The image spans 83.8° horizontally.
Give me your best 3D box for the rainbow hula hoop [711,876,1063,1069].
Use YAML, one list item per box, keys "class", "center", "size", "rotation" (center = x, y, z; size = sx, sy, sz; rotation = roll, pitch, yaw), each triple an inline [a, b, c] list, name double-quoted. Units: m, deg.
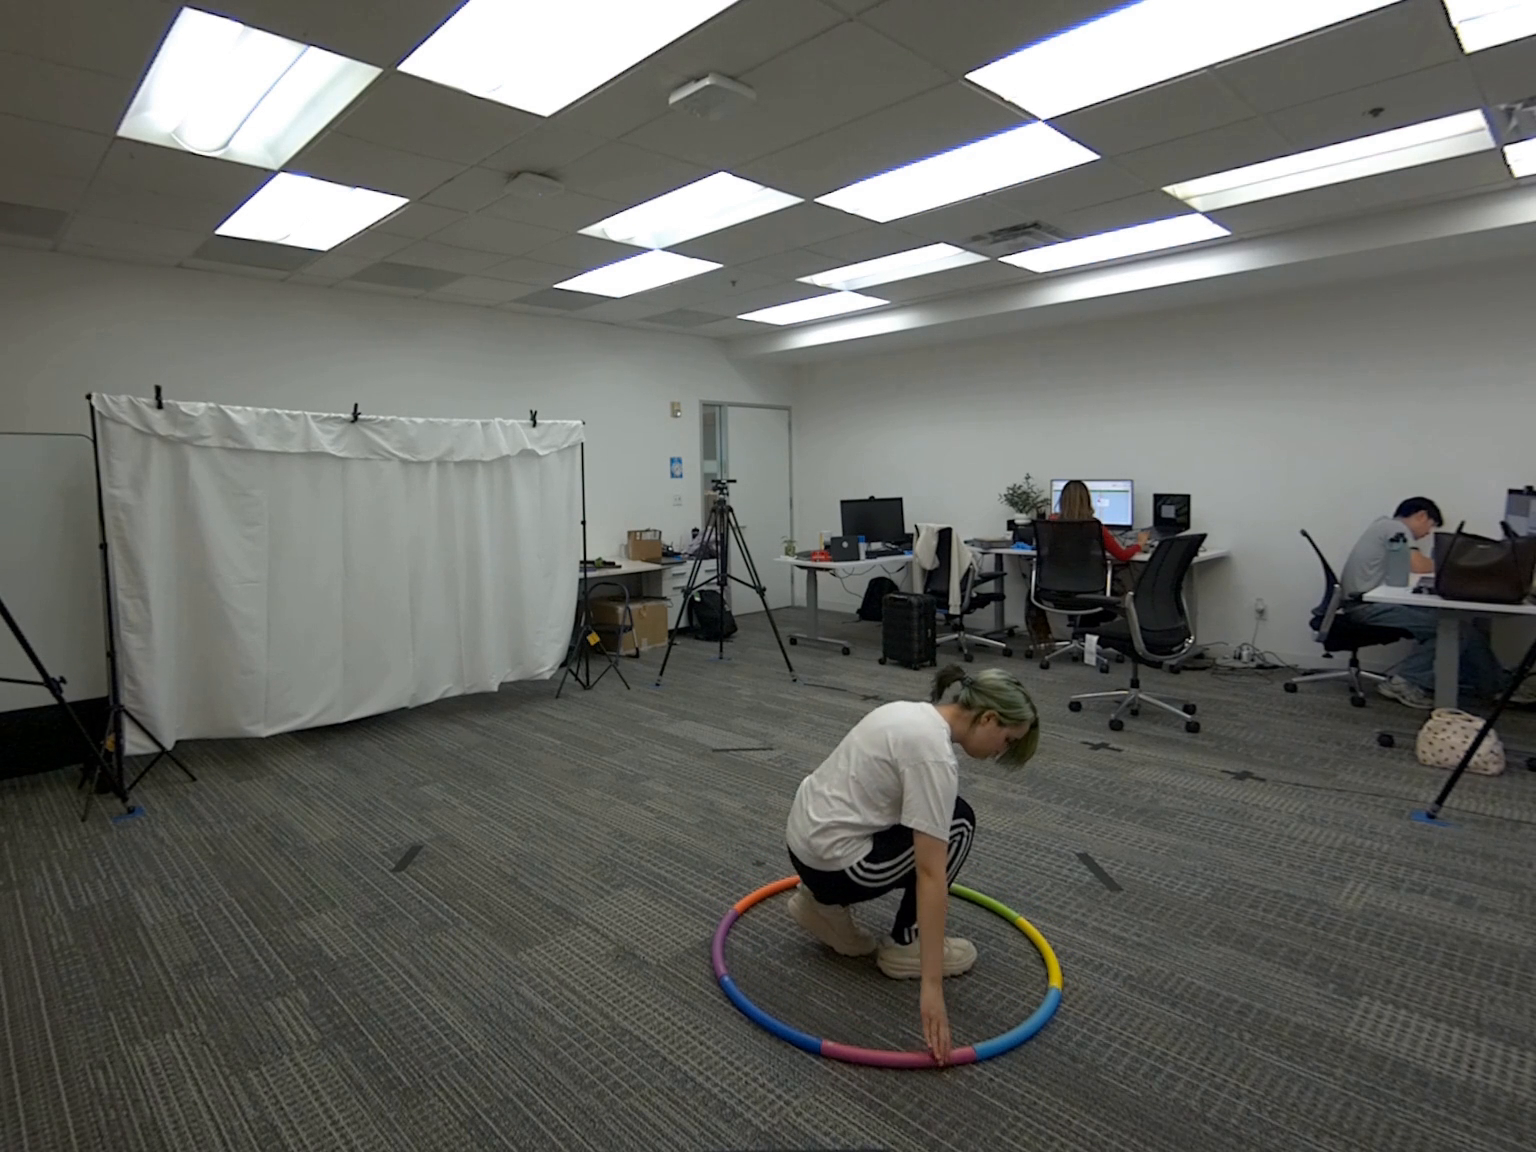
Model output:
- class: "rainbow hula hoop"
  center: [0.330, 1.082, 2.500]
  size: [0.985, 0.051, 0.991]
  rotation: [-2, 6, -2]
